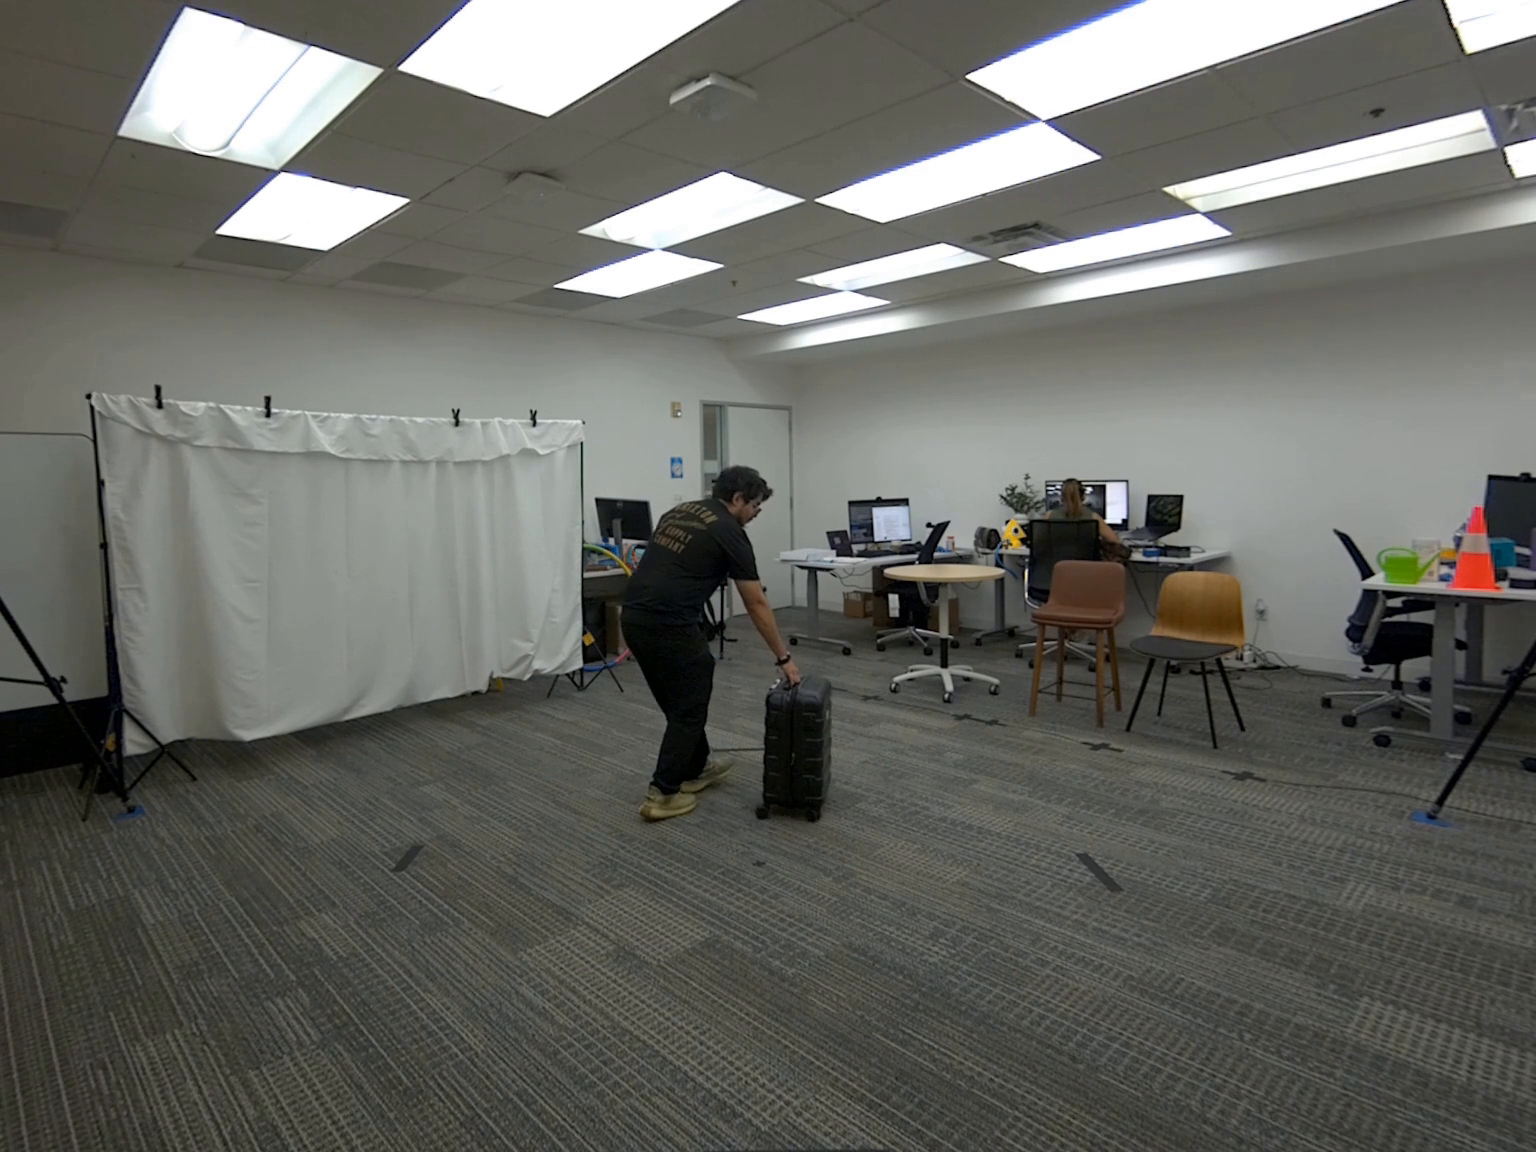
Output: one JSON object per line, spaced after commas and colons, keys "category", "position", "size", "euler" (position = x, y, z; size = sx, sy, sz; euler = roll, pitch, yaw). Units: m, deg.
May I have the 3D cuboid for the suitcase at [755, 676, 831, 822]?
{"category": "suitcase", "position": [0.126, 0.713, 3.624], "size": [0.252, 0.547, 0.372], "euler": [5, 6, 12]}
